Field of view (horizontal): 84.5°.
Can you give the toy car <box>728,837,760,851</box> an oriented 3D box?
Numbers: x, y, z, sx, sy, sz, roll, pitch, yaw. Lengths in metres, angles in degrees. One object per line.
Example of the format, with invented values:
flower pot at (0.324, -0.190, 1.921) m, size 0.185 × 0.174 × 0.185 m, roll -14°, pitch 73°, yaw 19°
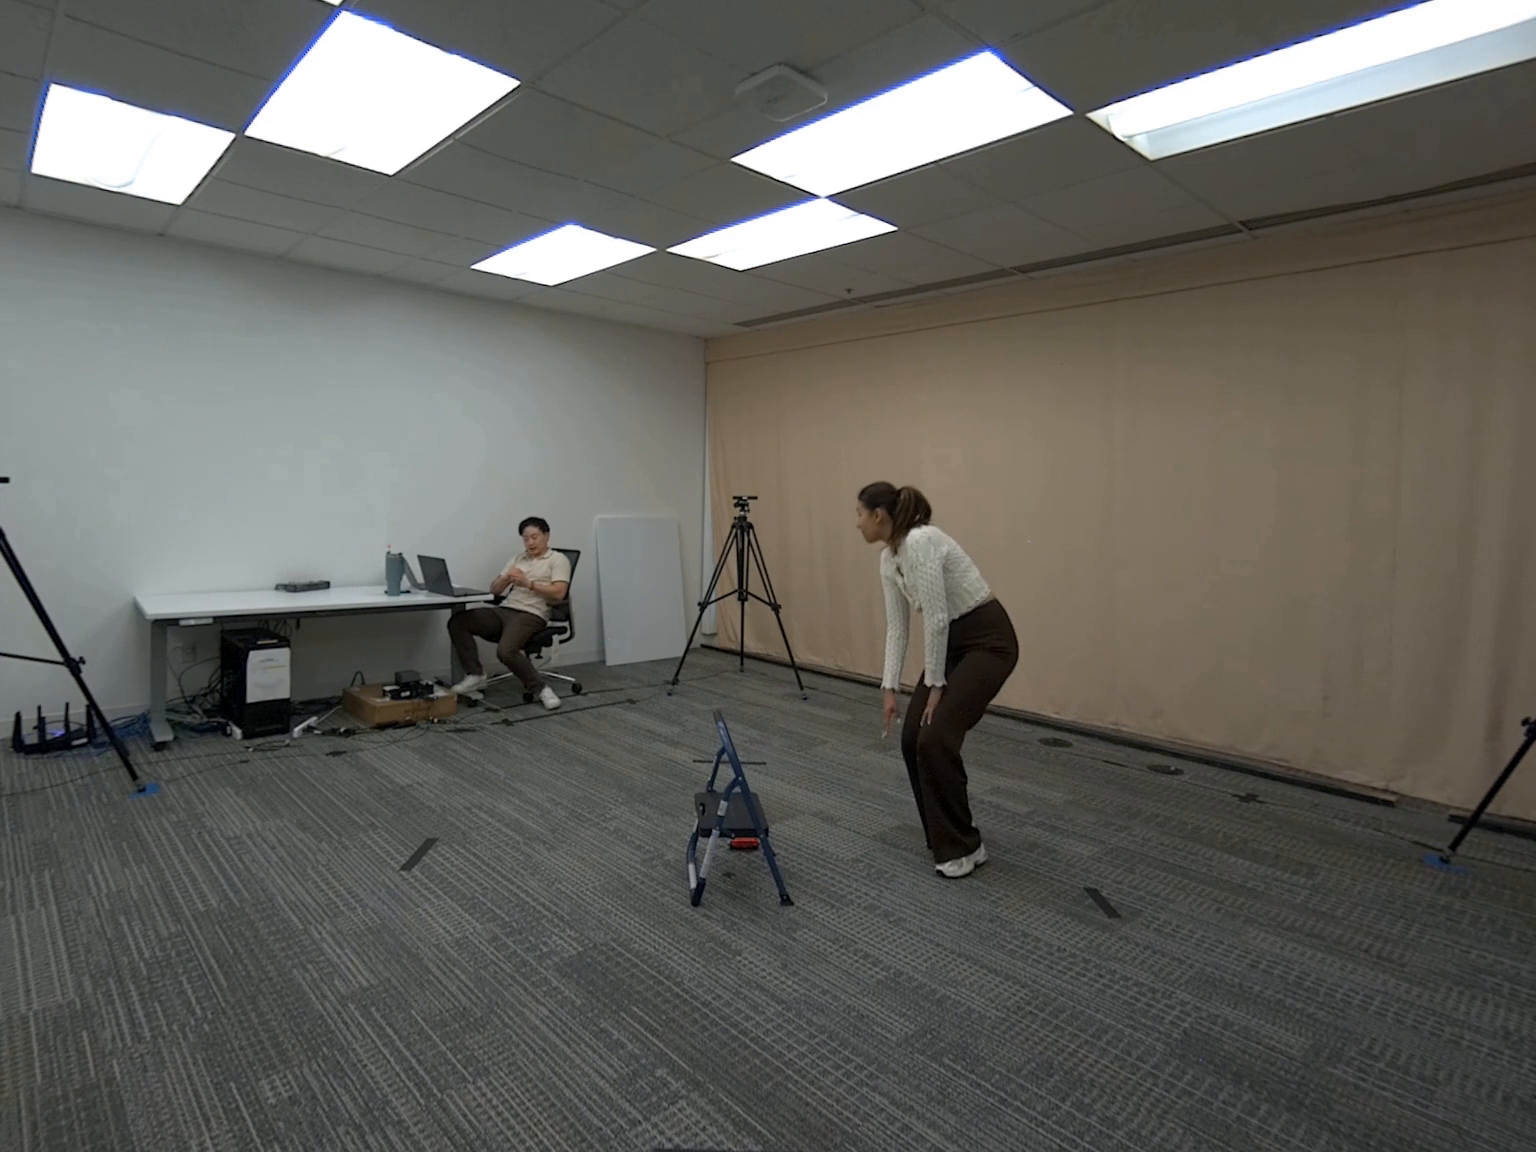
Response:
toy car at (-0.112, 1.040, 3.441) m, size 0.129 × 0.082 × 0.258 m, roll 0°, pitch 16°, yaw -7°
